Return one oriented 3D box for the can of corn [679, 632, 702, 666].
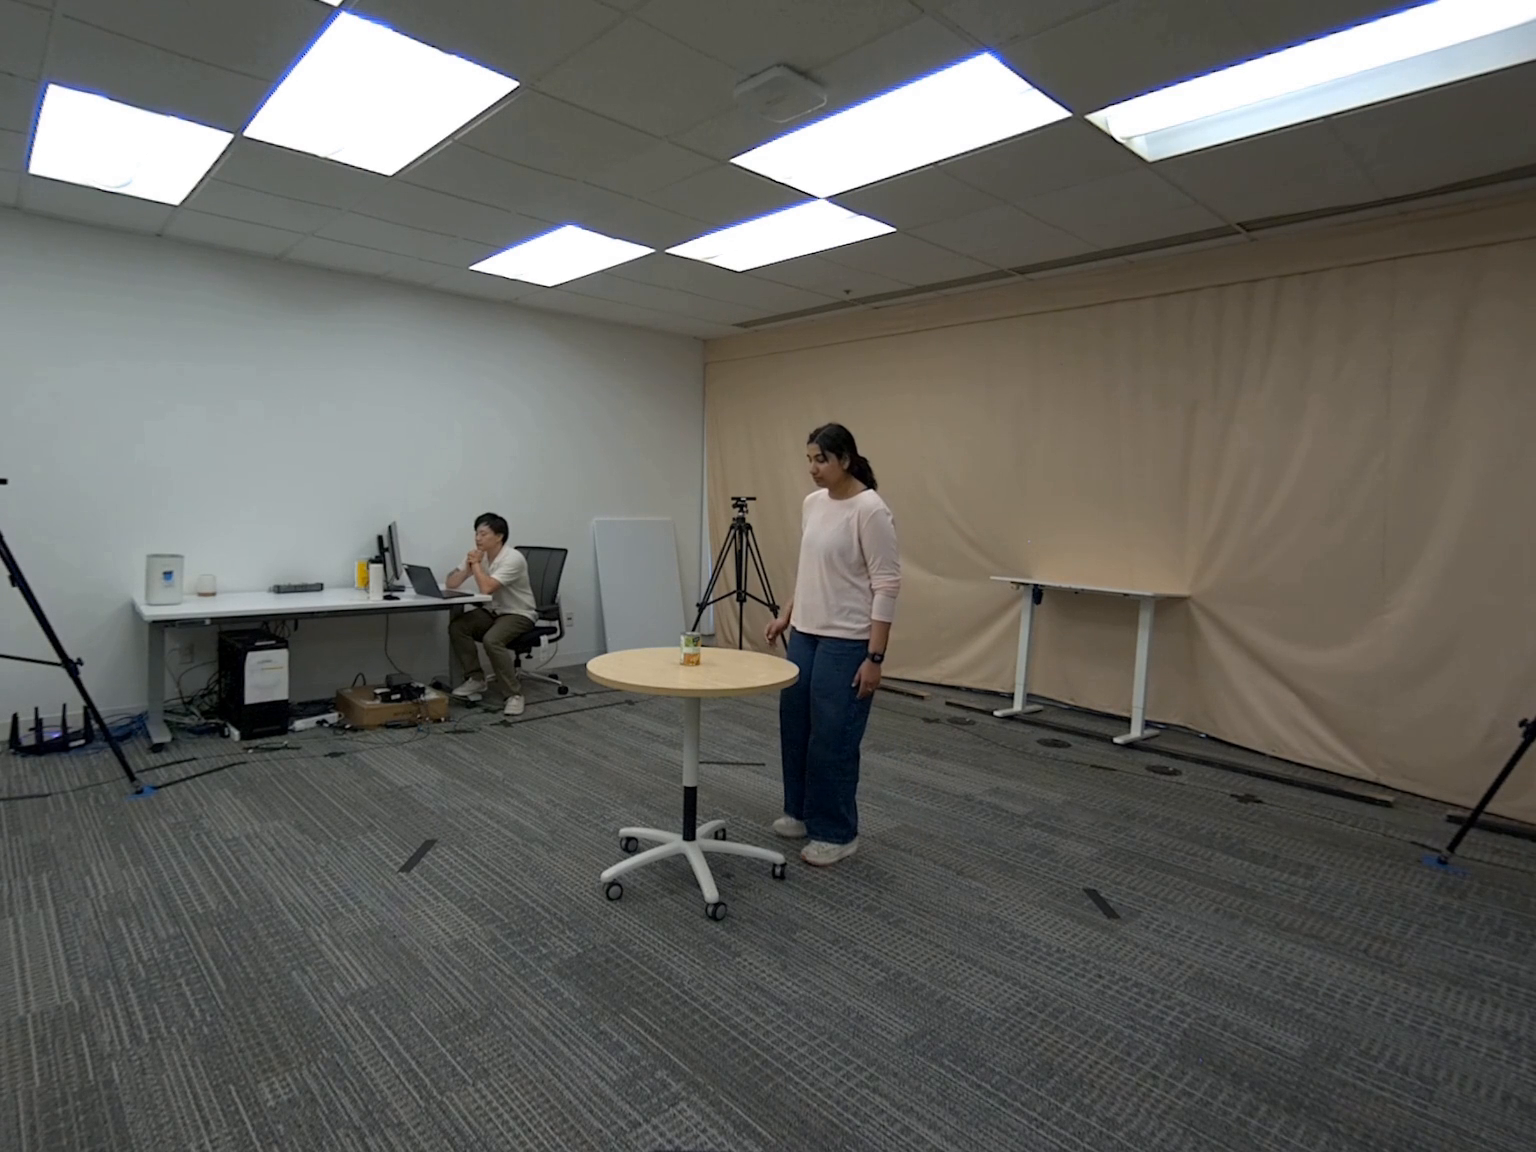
[{"bbox_3d":[-0.288,0.269,3.068,0.074,0.111,0.074,1,4,-1],"label":"can of corn"}]
